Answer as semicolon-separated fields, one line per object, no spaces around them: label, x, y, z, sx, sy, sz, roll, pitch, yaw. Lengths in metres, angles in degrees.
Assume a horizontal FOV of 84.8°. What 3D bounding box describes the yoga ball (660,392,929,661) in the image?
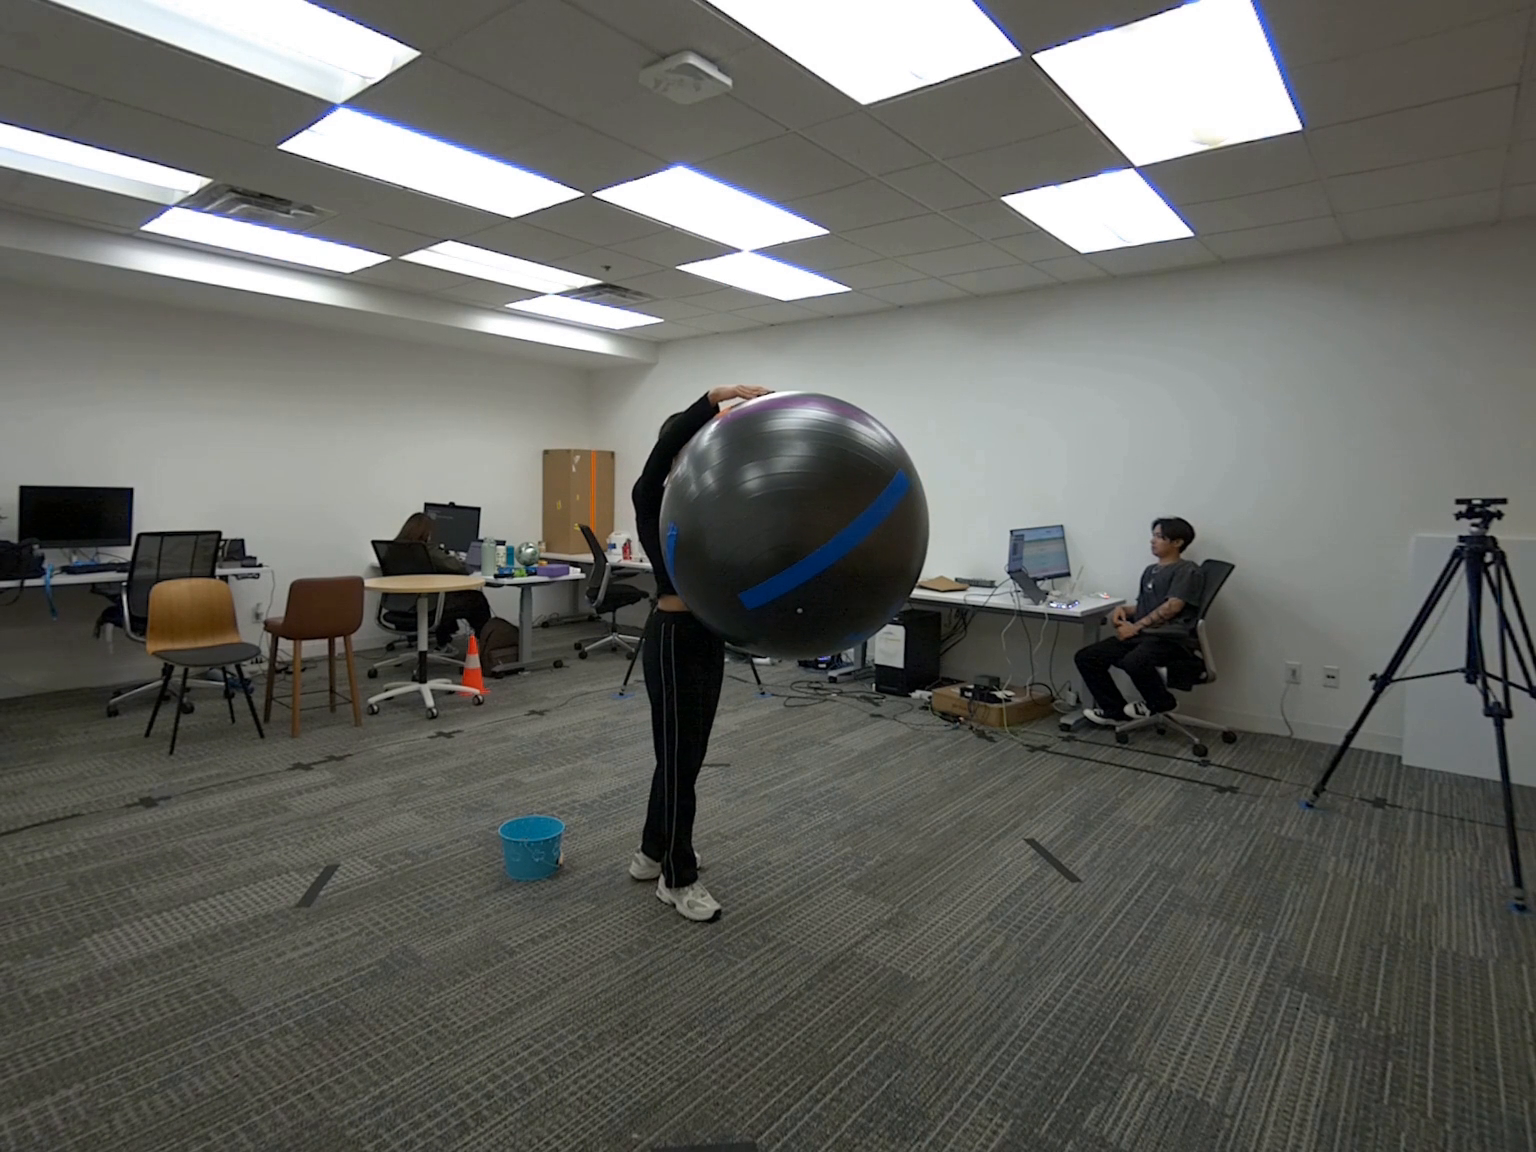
yoga ball;0.057;-0.143;2.416;0.757;0.755;0.762;1;4;-2
